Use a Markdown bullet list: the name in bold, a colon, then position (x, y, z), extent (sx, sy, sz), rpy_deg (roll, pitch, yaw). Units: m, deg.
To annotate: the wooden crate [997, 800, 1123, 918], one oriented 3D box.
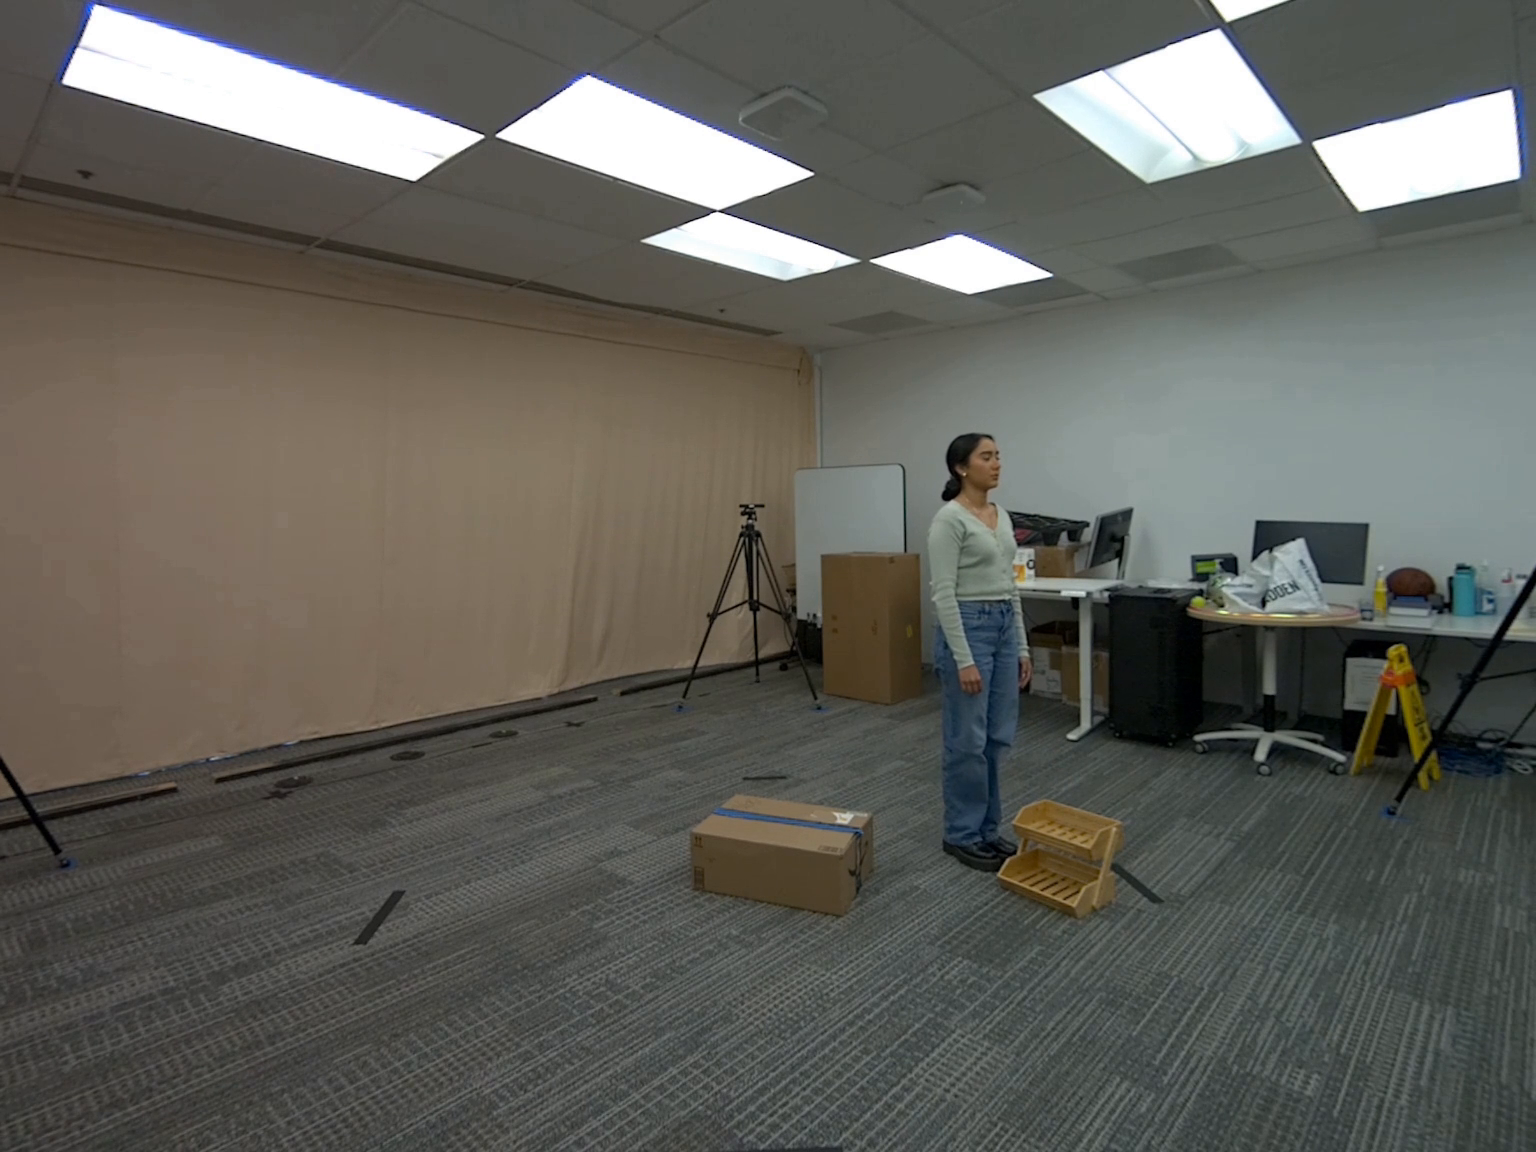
- **wooden crate**: position (1.029, 0.980, 2.985), extent (0.293, 0.273, 0.335), rpy_deg (-2, 4, -39)
